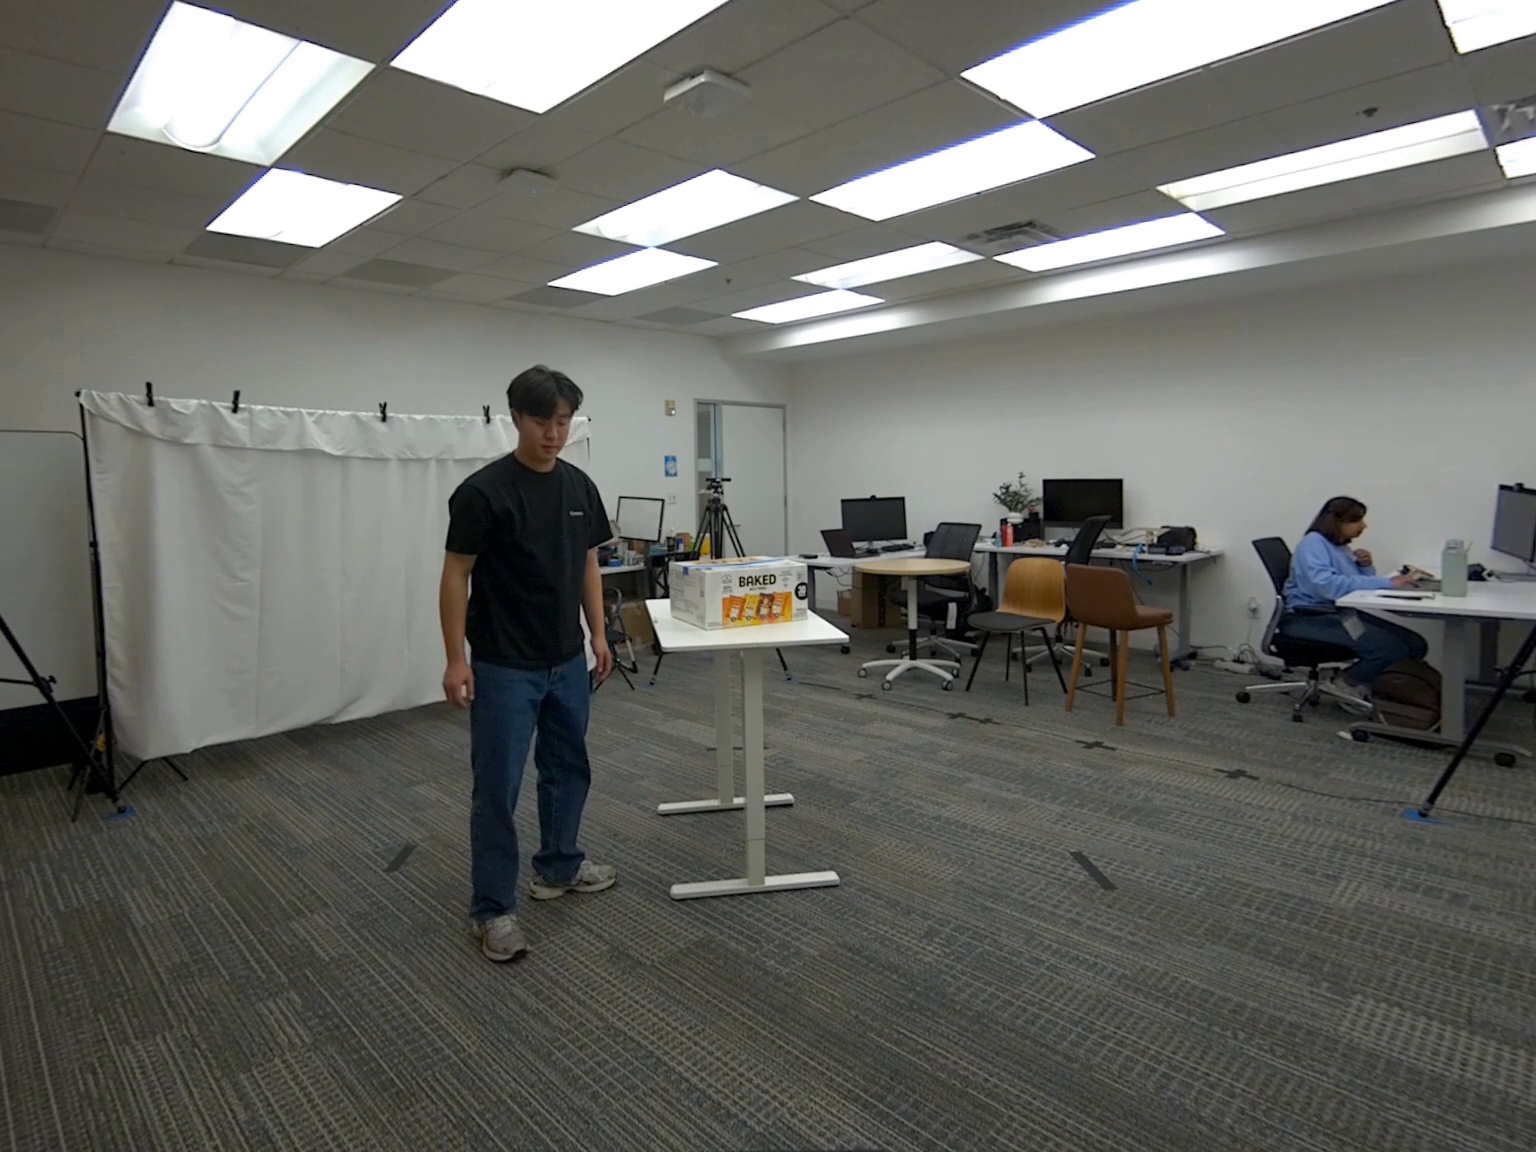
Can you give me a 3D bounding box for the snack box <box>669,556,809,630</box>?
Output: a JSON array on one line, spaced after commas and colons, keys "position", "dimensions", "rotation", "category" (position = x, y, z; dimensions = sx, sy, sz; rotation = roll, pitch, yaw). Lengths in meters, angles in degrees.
[{"position": [-0.111, 0.054, 3.140], "dimensions": [0.396, 0.205, 0.349], "rotation": [-5, 7, -26], "category": "snack box"}]
